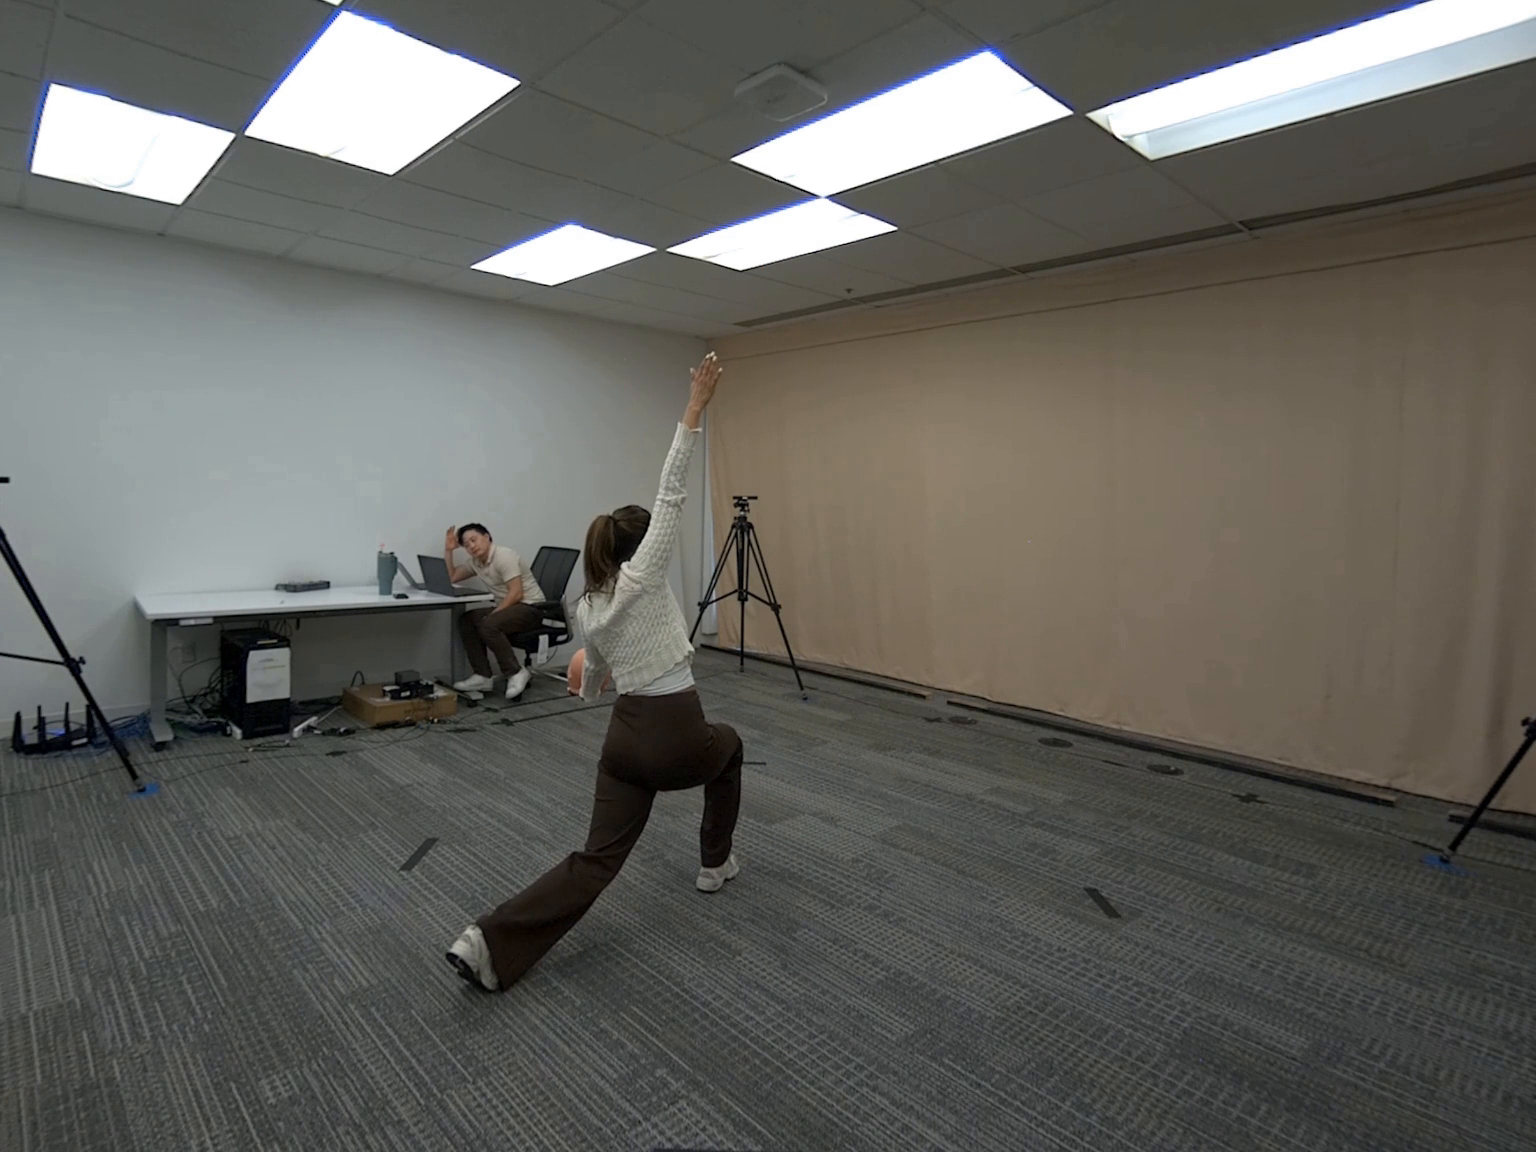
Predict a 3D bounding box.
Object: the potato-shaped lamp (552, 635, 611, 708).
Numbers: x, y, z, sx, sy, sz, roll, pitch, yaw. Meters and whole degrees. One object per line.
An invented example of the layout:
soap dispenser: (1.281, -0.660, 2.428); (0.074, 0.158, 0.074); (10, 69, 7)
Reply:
potato-shaped lamp: (-0.716, 0.371, 3.313); (0.173, 0.166, 0.194); (15, -34, 10)
